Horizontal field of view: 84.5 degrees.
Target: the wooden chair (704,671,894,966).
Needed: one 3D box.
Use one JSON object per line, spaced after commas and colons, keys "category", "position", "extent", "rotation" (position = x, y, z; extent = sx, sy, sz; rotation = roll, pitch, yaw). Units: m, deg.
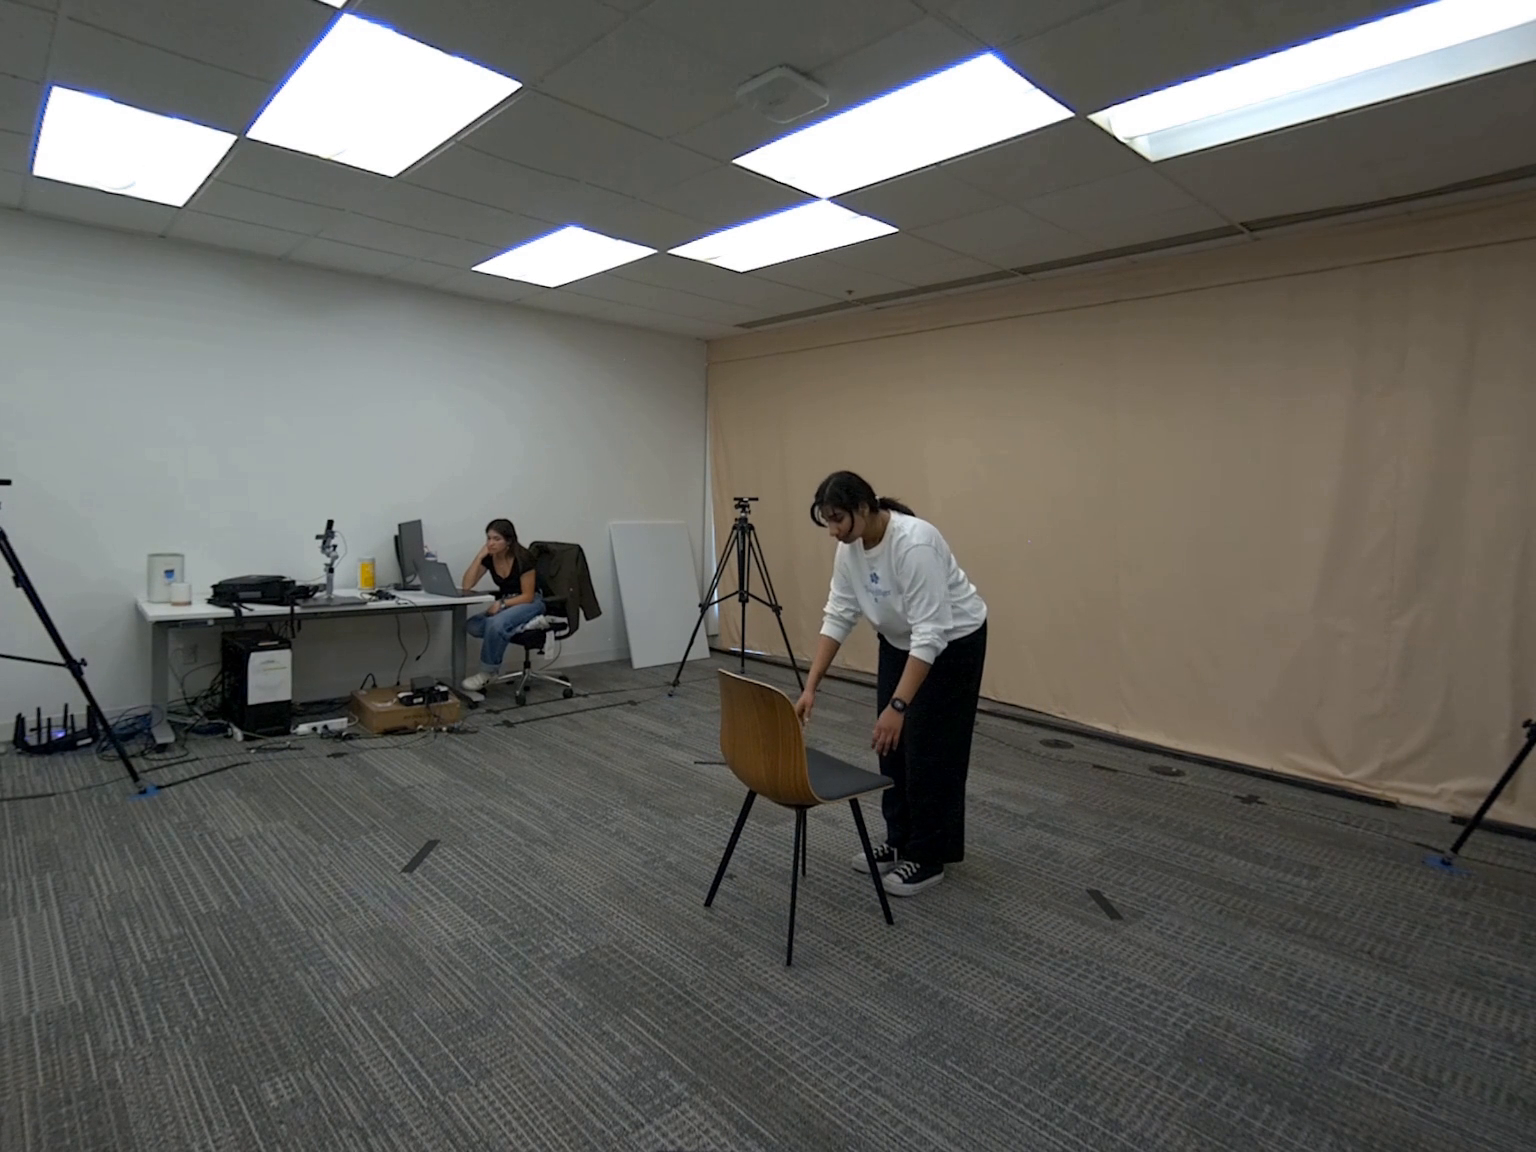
{"category": "wooden chair", "position": [0.106, 0.713, 2.794], "extent": [0.512, 0.873, 0.490], "rotation": [-7, 7, -38]}
